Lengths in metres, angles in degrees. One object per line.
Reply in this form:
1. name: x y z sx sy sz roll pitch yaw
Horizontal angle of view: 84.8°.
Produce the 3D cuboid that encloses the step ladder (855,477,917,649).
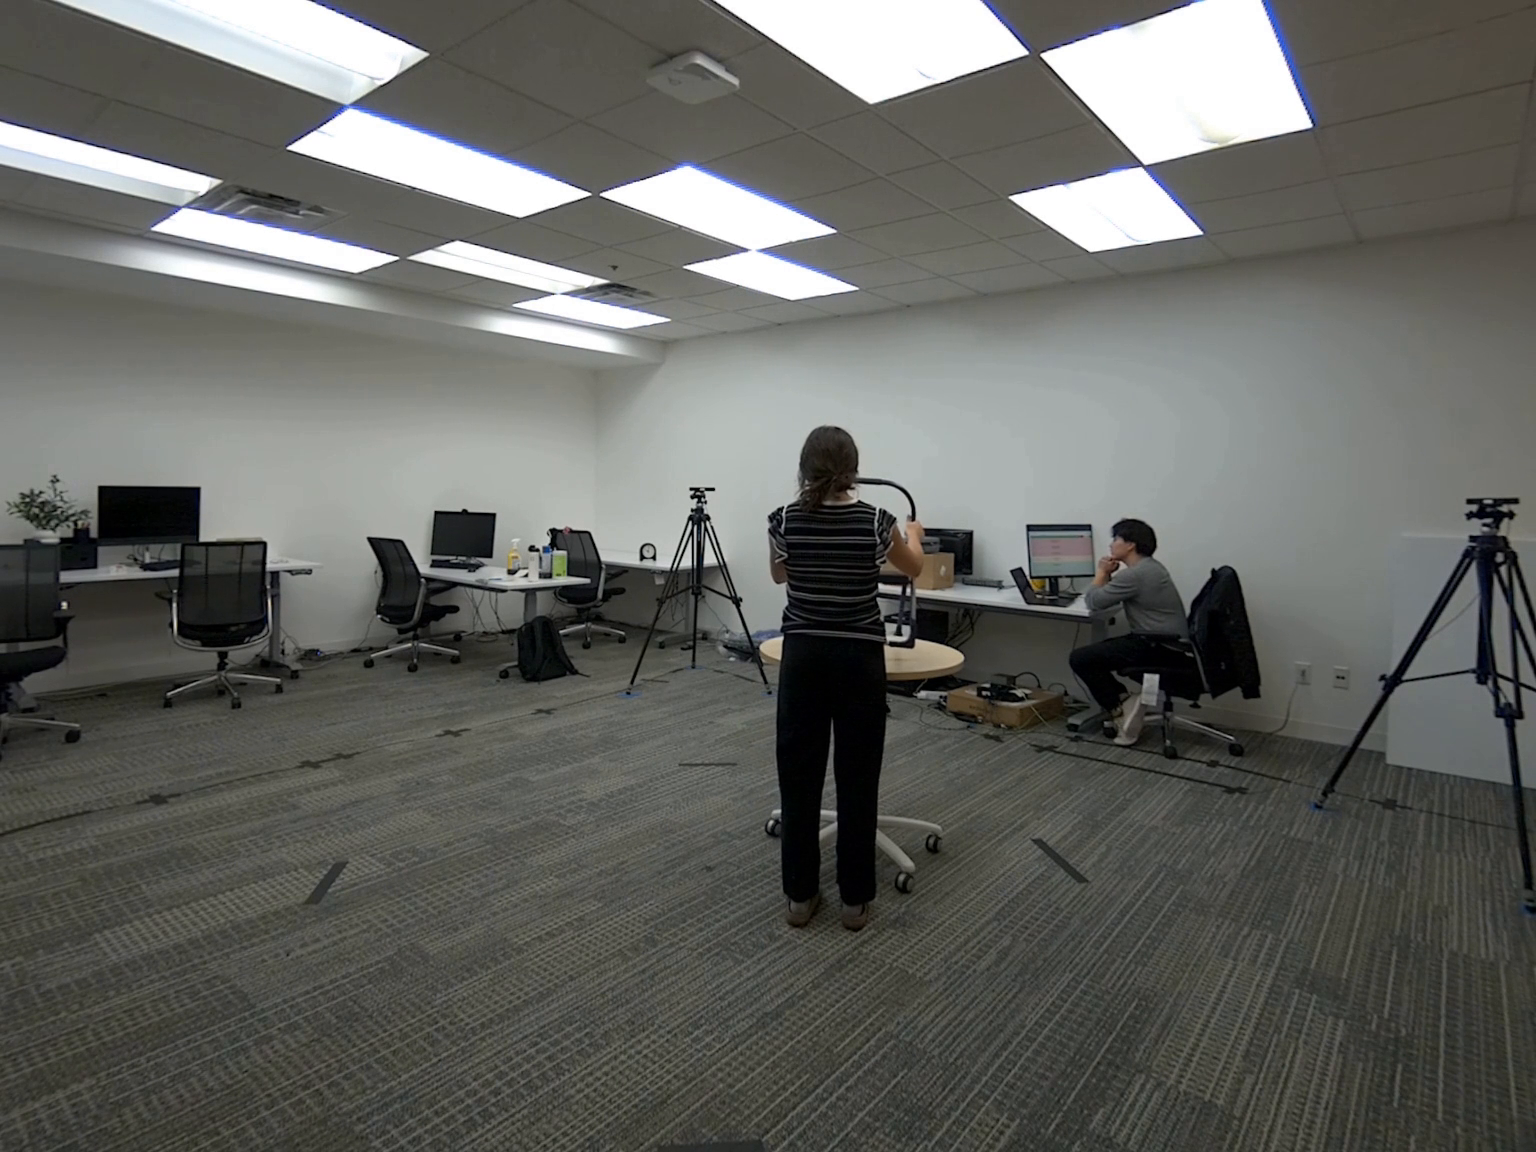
1. step ladder: 0.319 -0.060 3.223 0.432 0.605 0.349 1 3 2
